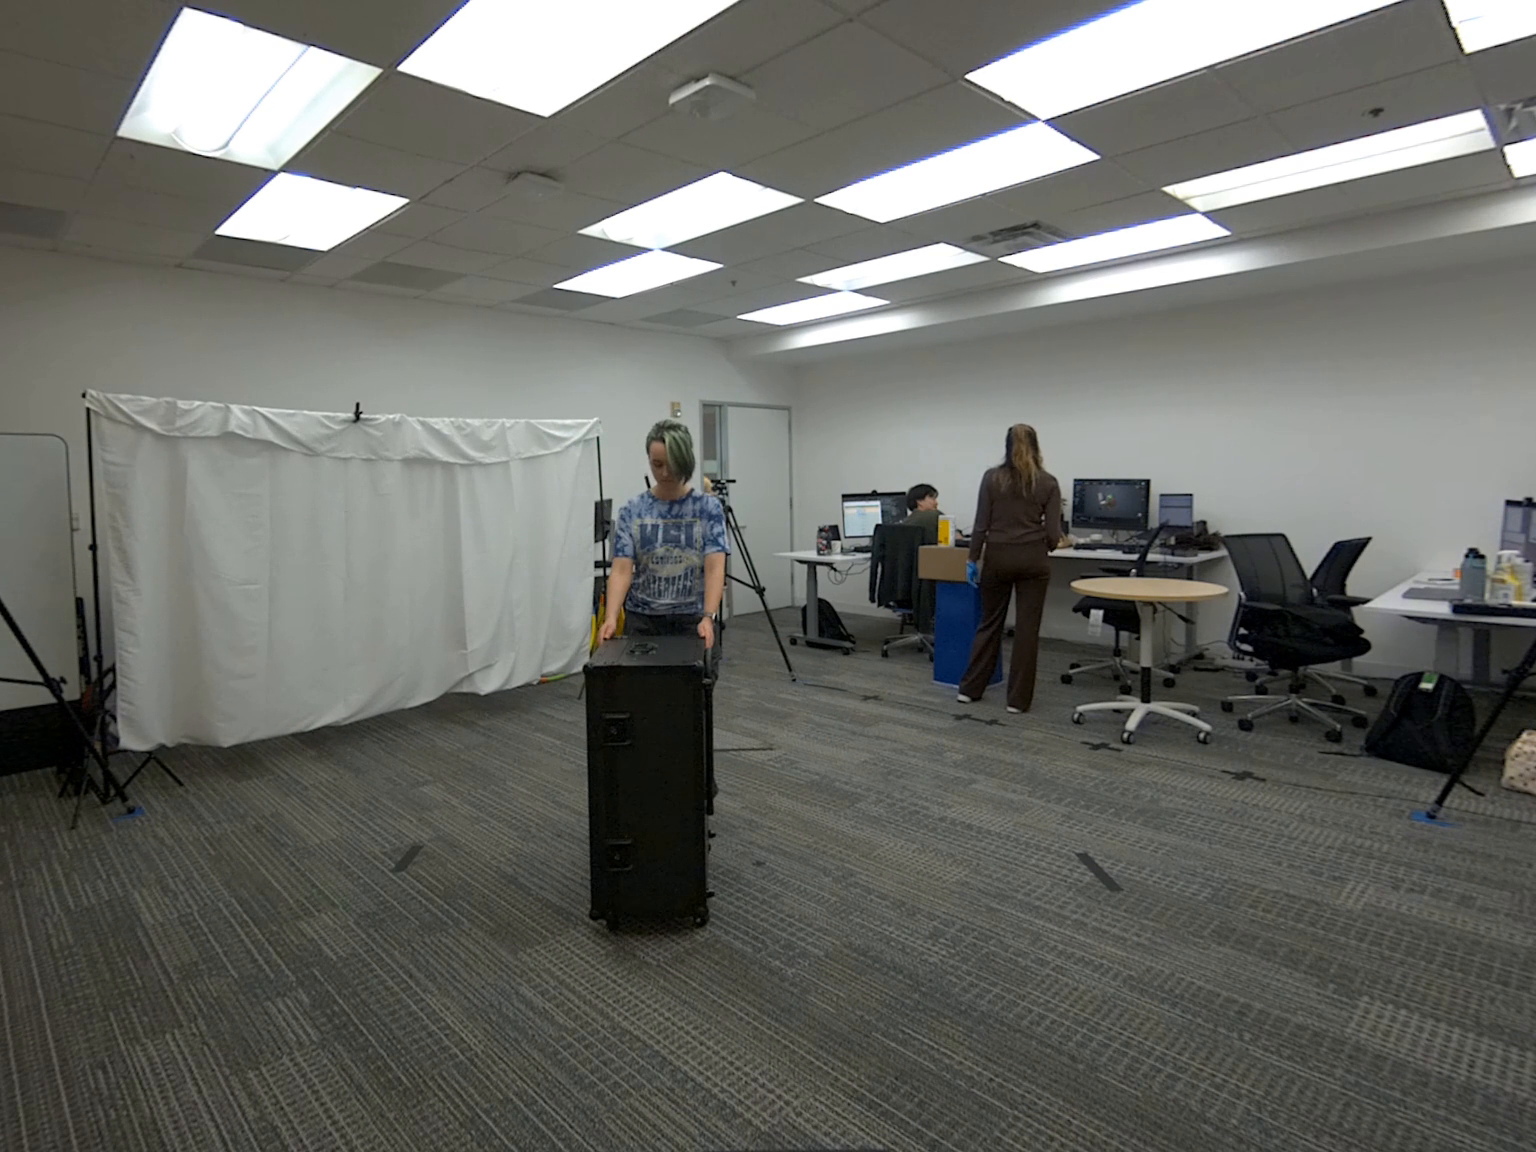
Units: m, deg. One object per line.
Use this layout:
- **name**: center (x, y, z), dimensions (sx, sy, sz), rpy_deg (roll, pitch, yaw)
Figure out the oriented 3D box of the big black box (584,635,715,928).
- **big black box**: center (-0.374, 0.670, 2.813), dimensions (0.395, 0.859, 0.524), rpy_deg (-1, 4, -3)
